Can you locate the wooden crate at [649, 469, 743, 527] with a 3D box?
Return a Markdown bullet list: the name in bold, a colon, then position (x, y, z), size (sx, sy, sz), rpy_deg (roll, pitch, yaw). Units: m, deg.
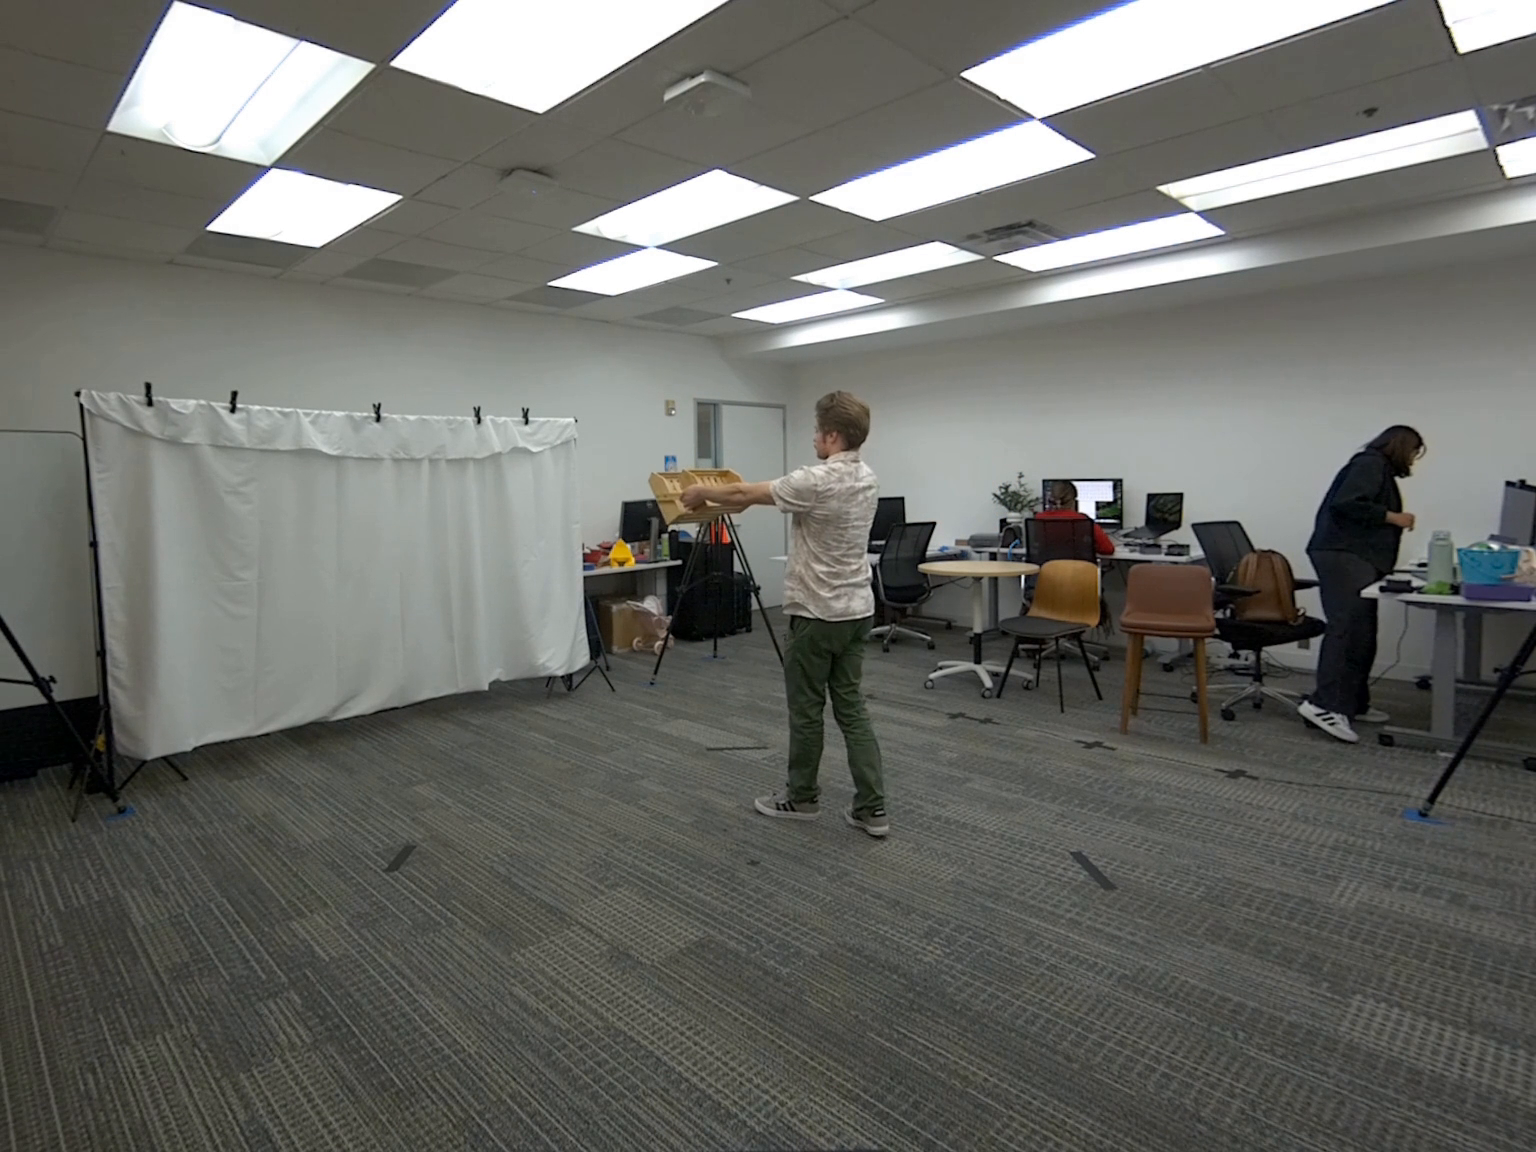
- **wooden crate**: position (-0.302, -0.391, 3.848), size (0.275, 0.308, 0.316), rpy_deg (-36, -18, 37)
